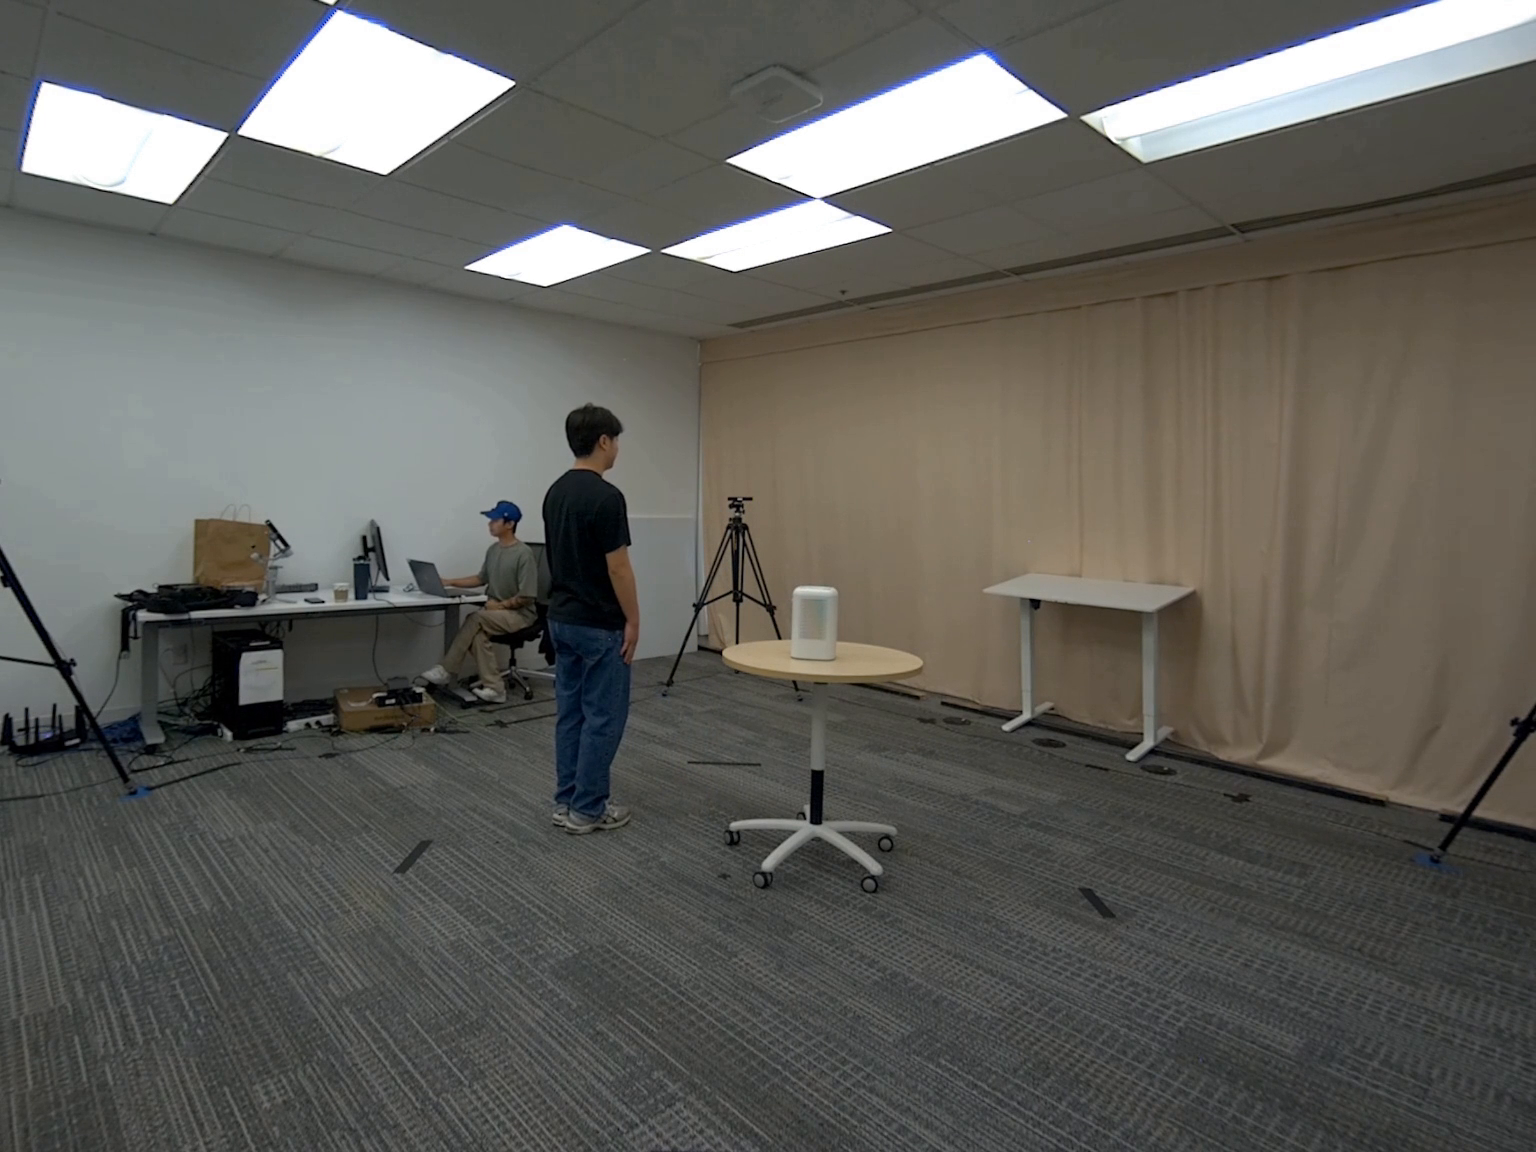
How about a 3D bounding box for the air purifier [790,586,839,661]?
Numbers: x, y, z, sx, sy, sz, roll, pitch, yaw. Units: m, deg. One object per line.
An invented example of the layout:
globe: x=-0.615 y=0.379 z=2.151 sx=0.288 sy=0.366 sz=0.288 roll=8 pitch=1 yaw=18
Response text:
air purifier: x=0.173 y=0.177 z=3.216 sx=0.173 sy=0.265 sz=0.170 roll=0 pitch=2 yaw=9
